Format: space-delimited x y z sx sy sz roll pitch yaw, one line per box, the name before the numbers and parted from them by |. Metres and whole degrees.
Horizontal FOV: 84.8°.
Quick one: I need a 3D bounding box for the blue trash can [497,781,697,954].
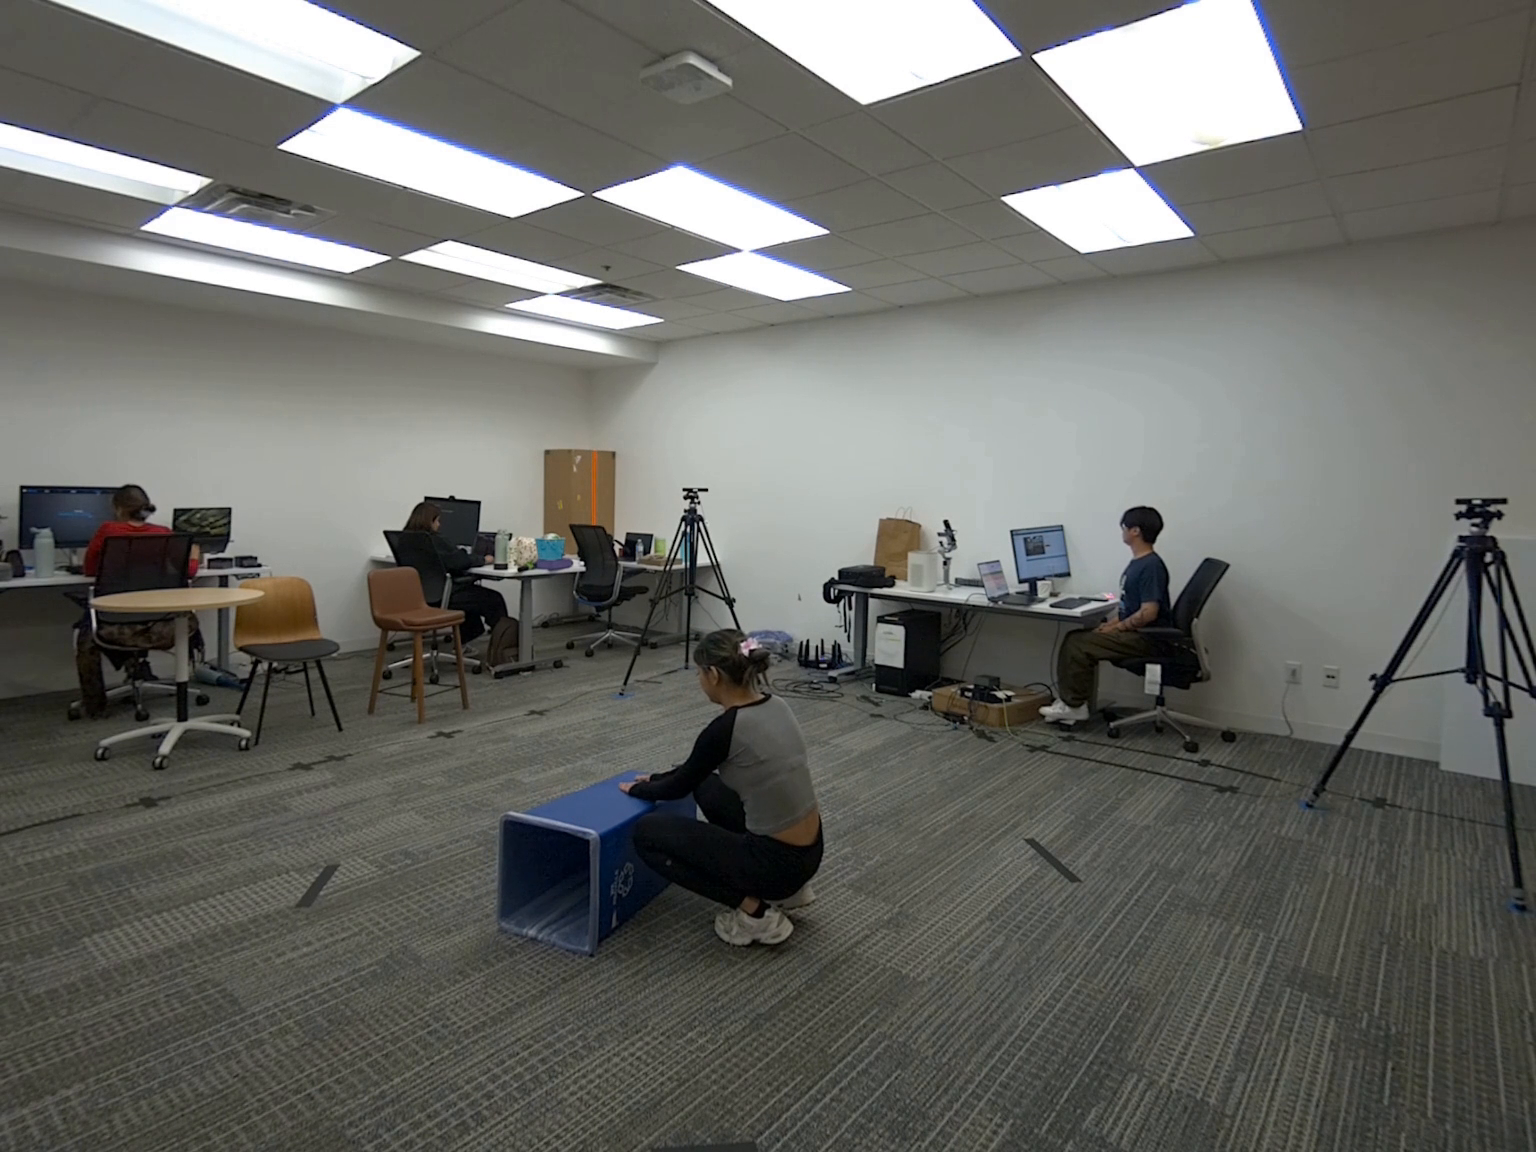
blue trash can | -0.548 0.916 2.900 0.384 0.378 0.696 2 2 24
